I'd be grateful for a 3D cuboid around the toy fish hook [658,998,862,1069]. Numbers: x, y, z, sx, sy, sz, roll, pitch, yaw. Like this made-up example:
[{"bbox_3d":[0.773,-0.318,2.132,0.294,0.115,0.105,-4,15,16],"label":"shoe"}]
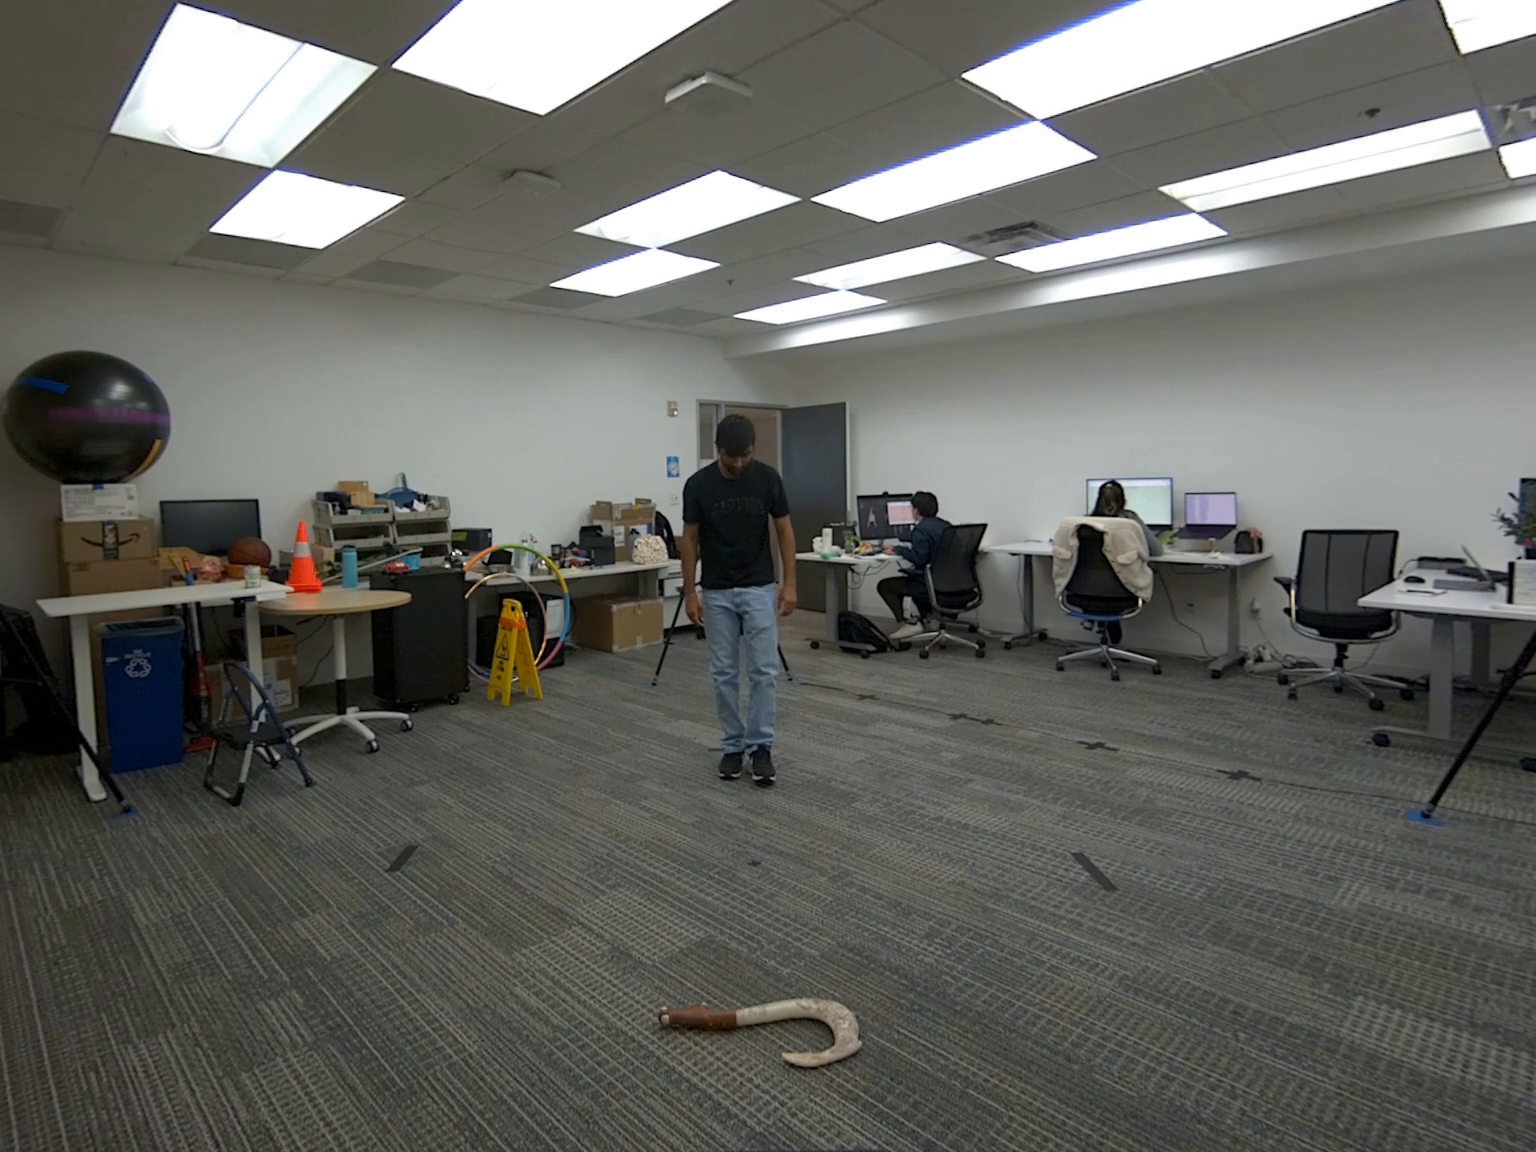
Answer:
[{"bbox_3d":[-0.022,1.140,2.134,0.507,0.048,0.225,-1,6,1],"label":"toy fish hook"}]
